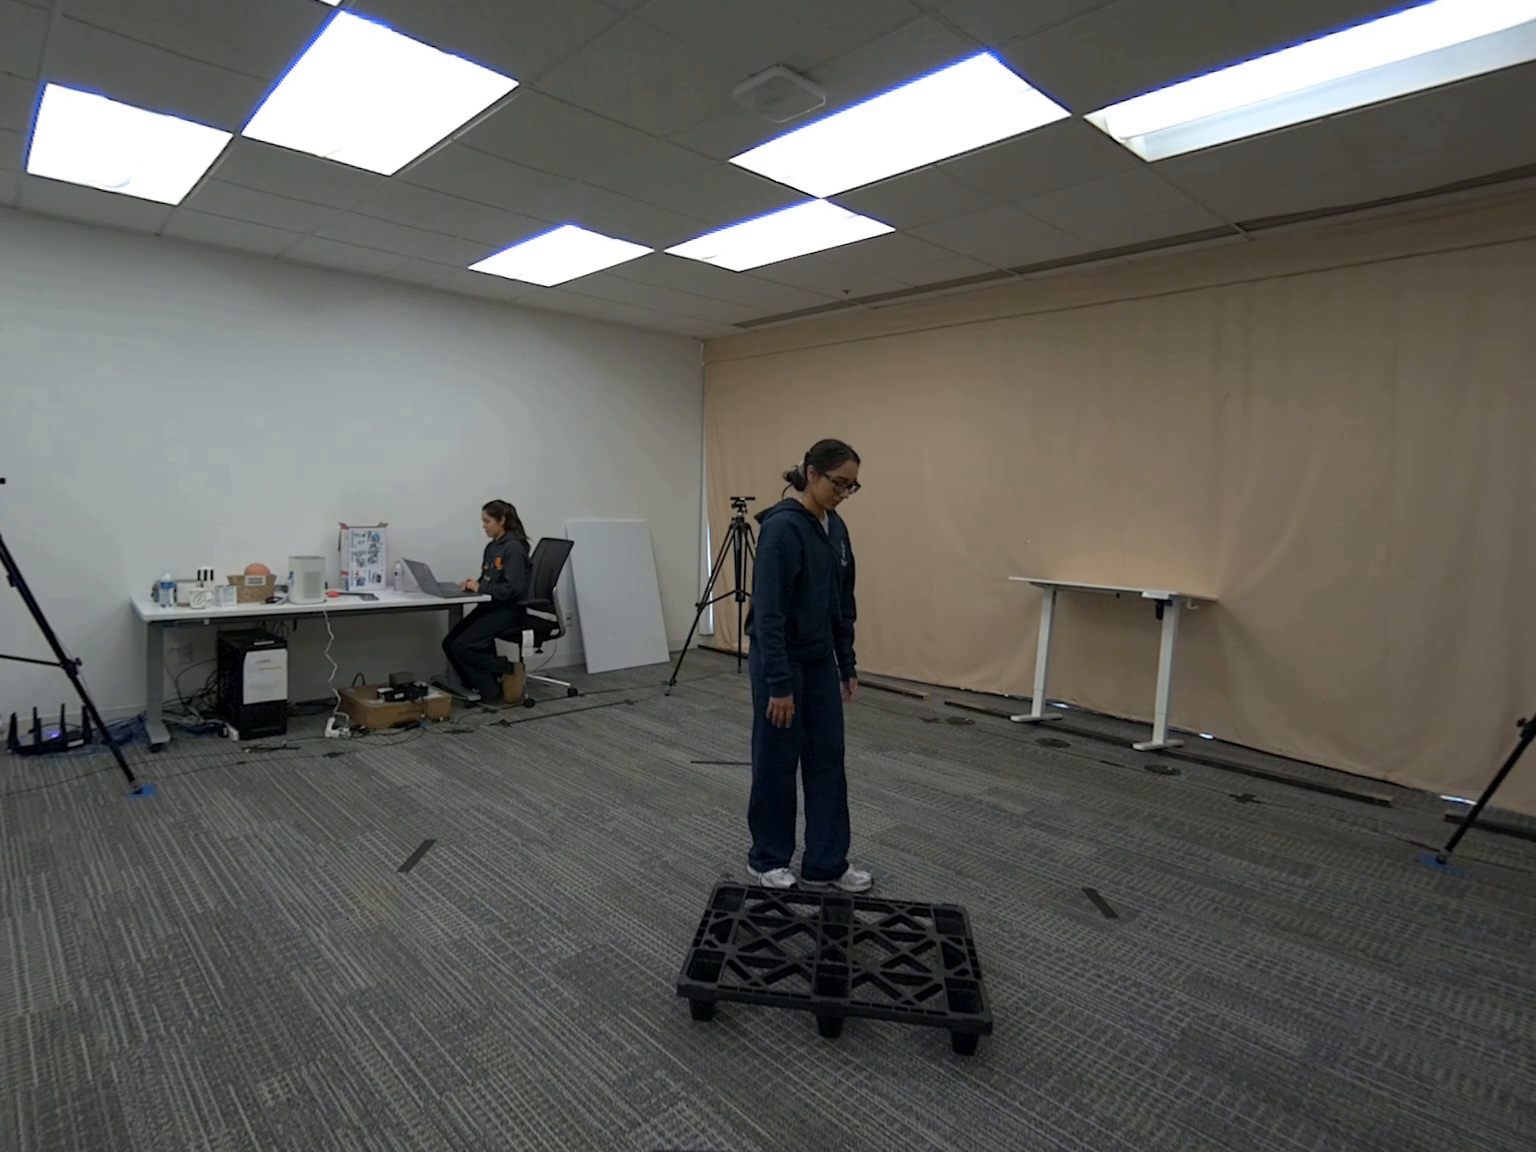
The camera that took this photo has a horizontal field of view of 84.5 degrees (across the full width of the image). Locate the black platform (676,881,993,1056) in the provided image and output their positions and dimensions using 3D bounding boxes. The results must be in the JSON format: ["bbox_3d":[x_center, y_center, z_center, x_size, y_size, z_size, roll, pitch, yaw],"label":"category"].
[{"bbox_3d":[0.189,1.111,2.410,0.811,0.143,0.603,2,6,8],"label":"black platform"}]
